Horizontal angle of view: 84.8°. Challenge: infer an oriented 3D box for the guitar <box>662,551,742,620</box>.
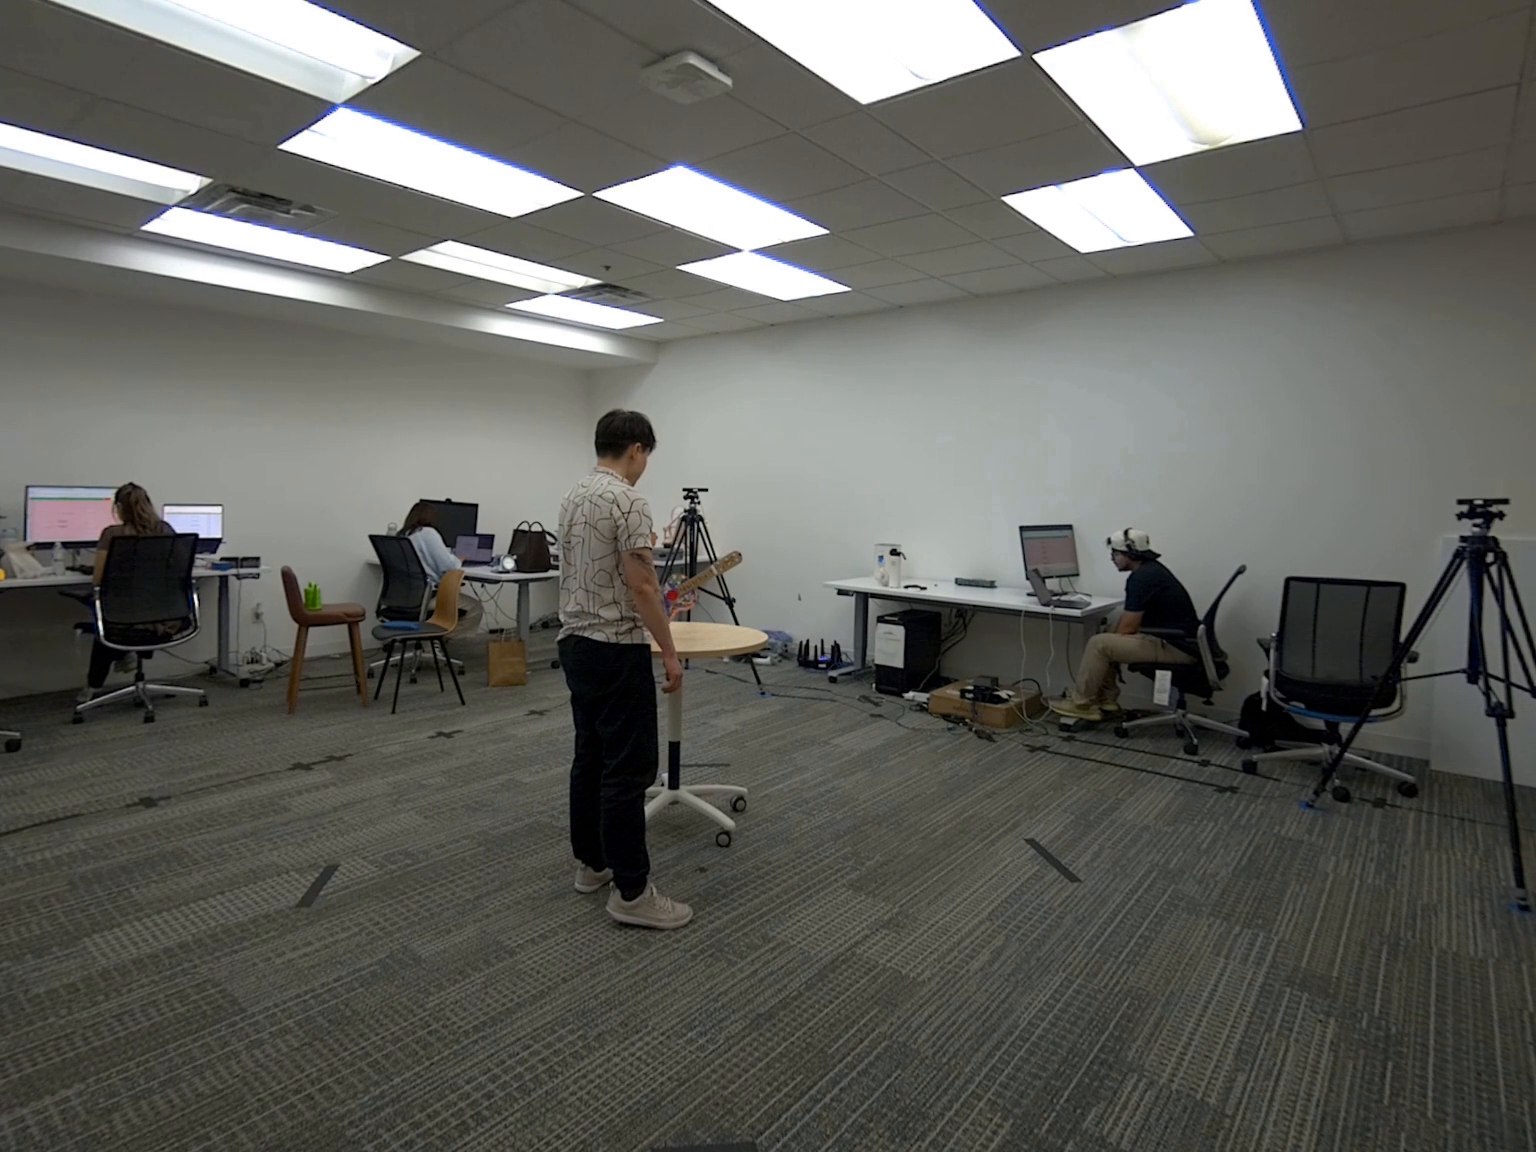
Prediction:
[{"bbox_3d":[-0.329,0.070,3.474,0.497,0.196,0.069,-22,-12,-2],"label":"guitar"}]
